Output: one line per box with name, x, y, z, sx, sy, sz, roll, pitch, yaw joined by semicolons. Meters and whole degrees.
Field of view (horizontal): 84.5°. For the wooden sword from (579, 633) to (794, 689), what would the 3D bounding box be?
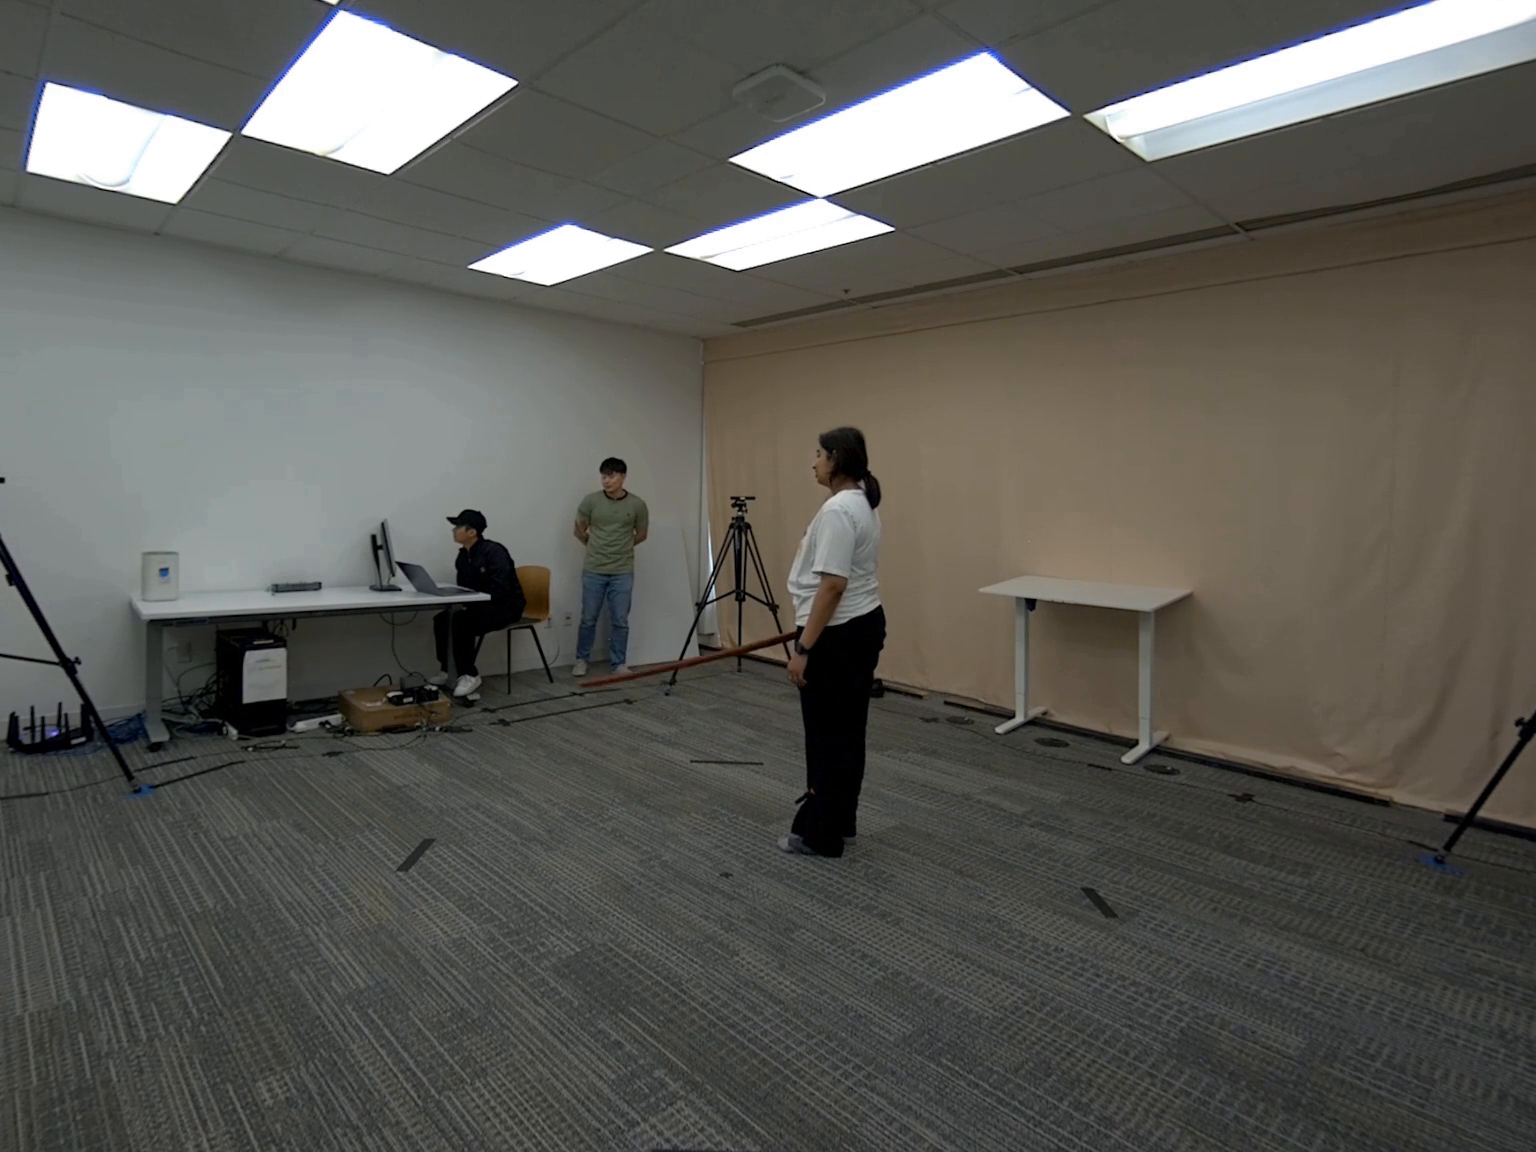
wooden sword;-0.286;0.343;3.450;1.018;0.052;0.024;-13;-26;-11
